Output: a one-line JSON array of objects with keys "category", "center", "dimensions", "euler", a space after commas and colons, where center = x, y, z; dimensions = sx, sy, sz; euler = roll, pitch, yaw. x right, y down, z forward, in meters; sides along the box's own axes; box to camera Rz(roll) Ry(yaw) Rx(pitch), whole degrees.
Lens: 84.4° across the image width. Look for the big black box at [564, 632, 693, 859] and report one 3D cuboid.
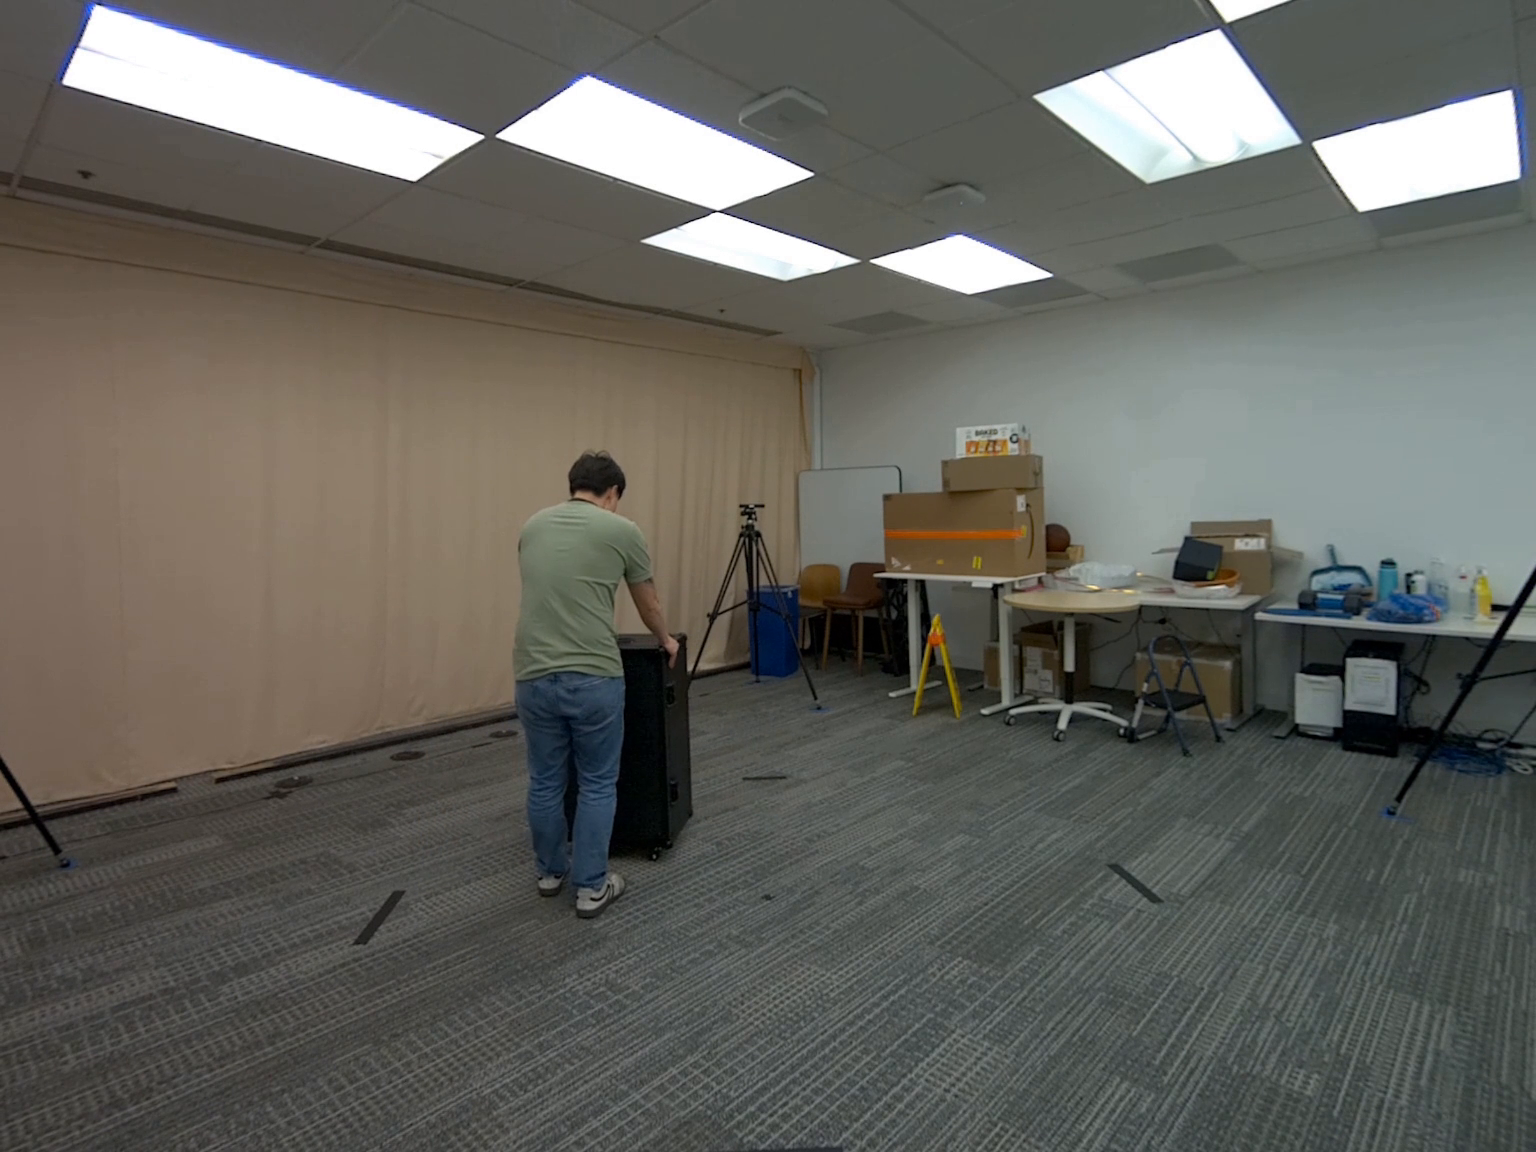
[{"category": "big black box", "center": [-0.596, 0.686, 3.473], "dimensions": [0.529, 0.860, 0.391], "euler": [-1, 2, 13]}]
